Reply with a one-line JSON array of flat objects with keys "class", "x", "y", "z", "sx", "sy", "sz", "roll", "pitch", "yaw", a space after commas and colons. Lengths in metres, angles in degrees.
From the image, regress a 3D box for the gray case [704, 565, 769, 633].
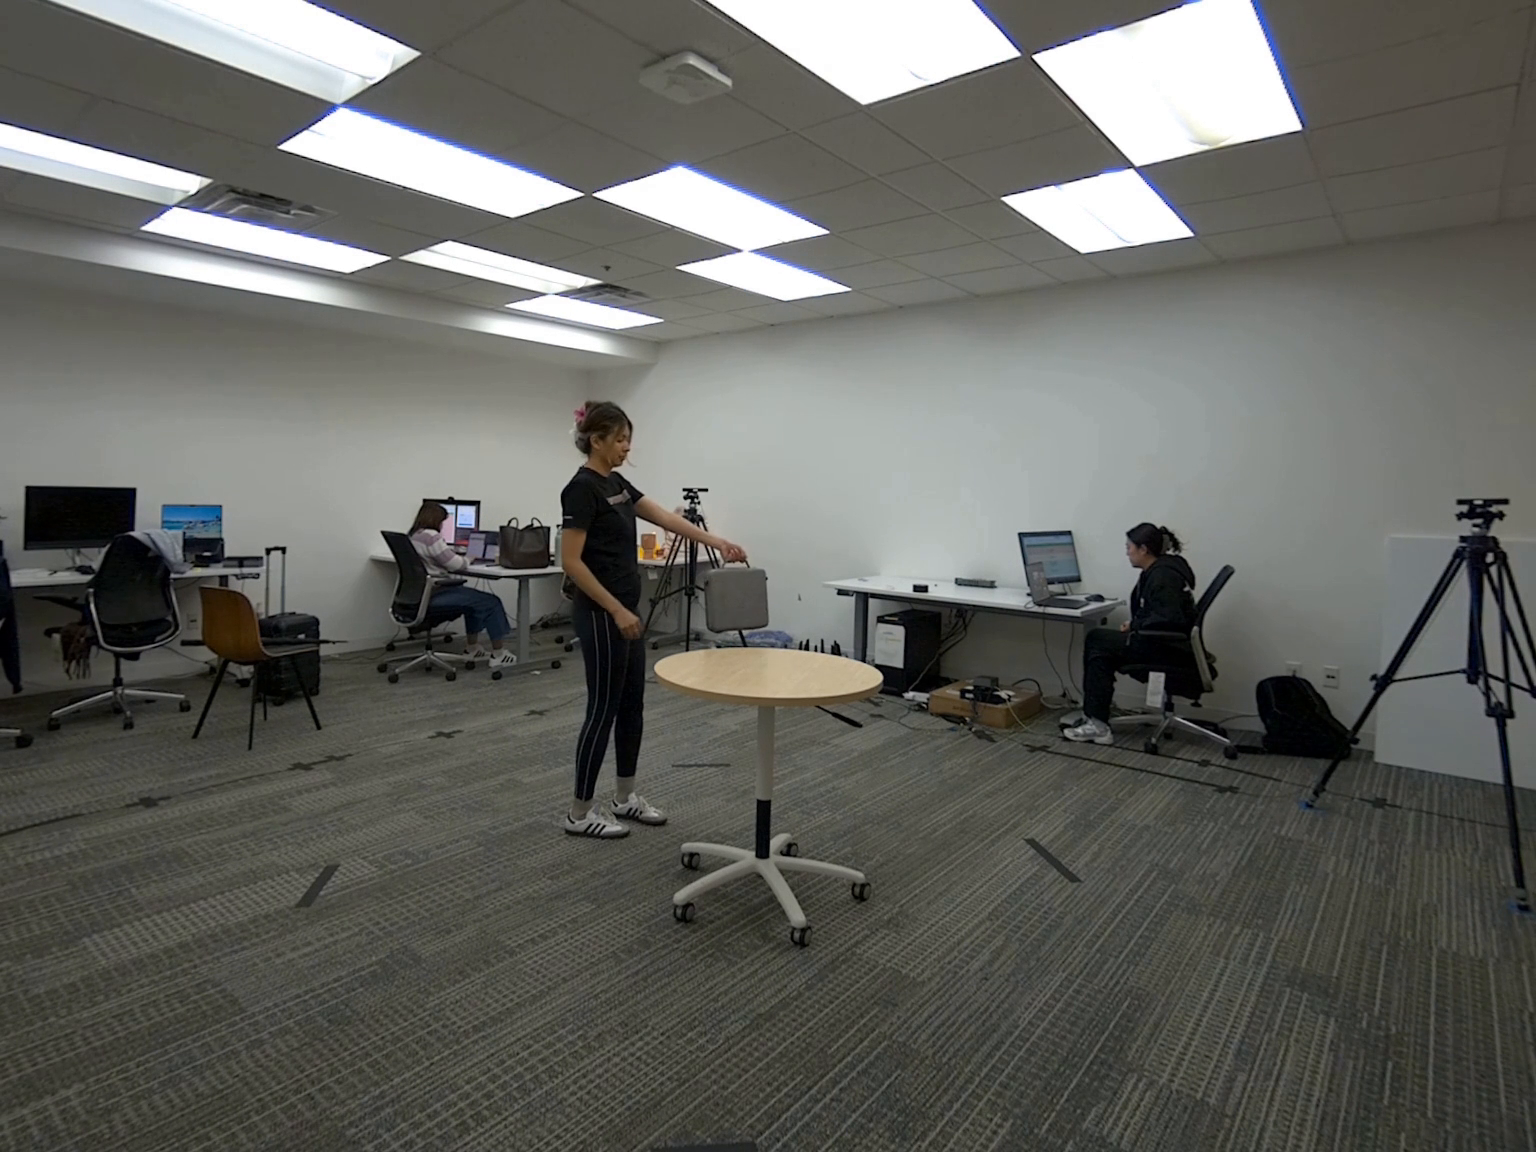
[{"class": "gray case", "x": -0.140, "y": 0.088, "z": 3.481, "sx": 0.252, "sy": 0.261, "sz": 0.106, "roll": -3, "pitch": -3, "yaw": -18}]
